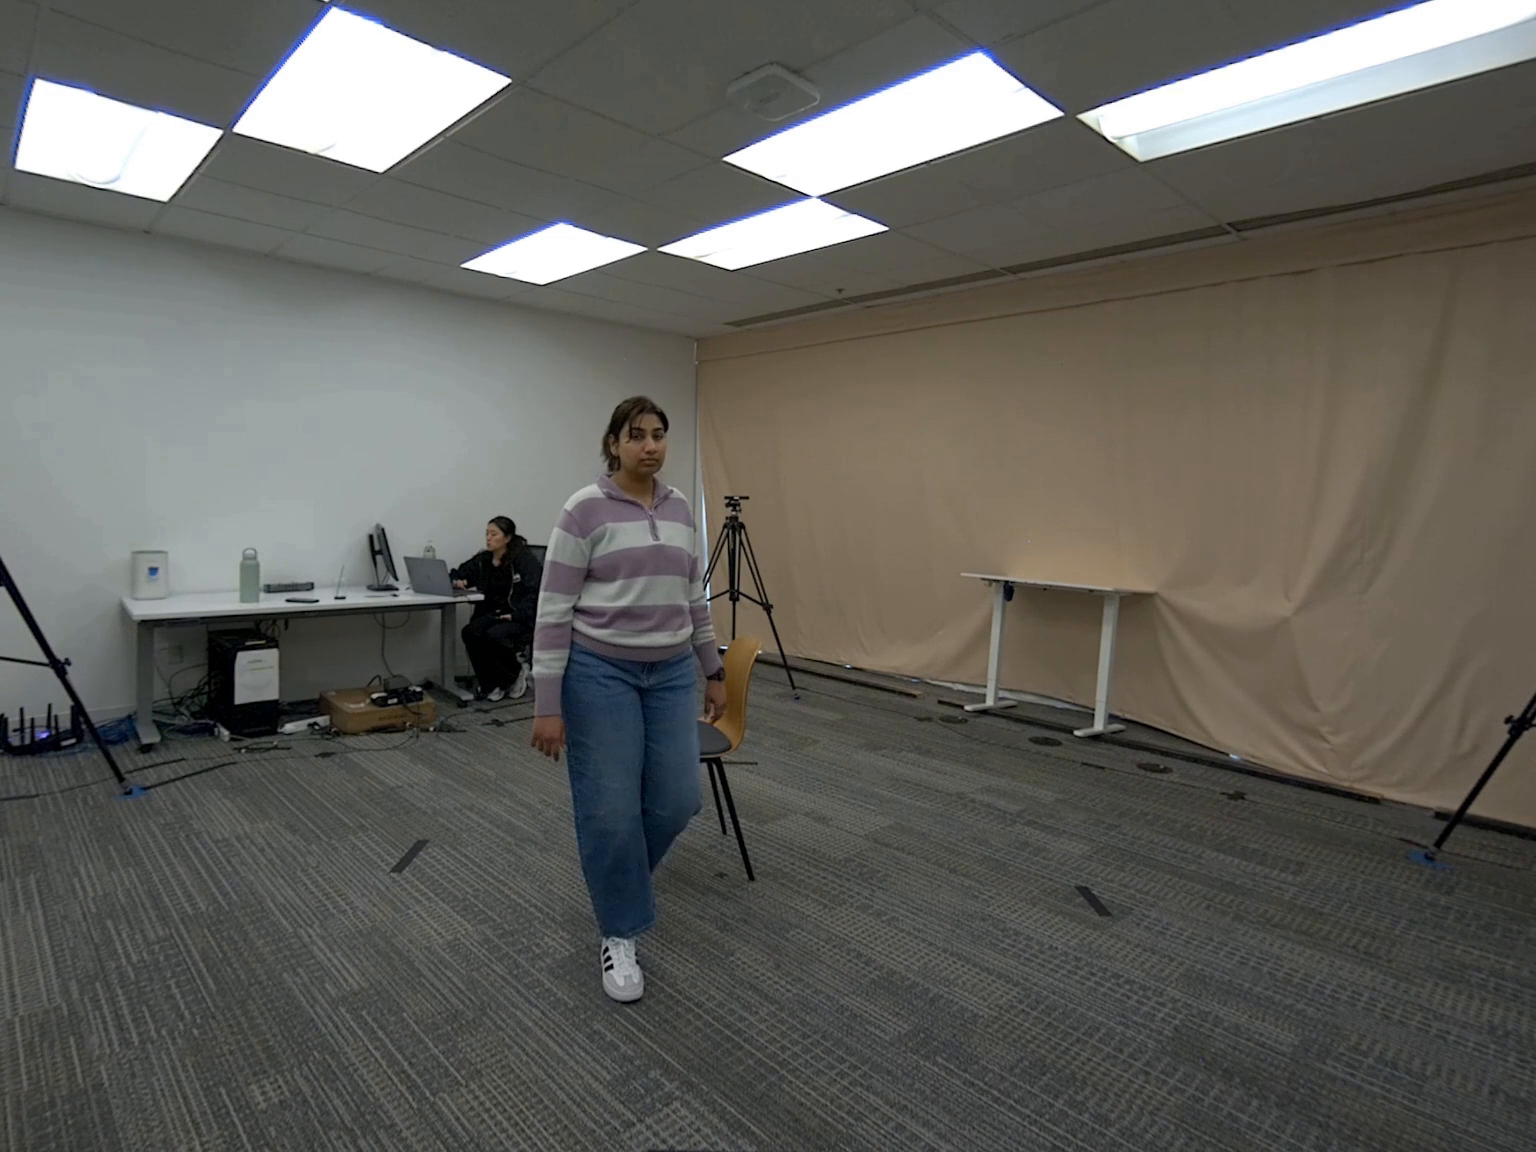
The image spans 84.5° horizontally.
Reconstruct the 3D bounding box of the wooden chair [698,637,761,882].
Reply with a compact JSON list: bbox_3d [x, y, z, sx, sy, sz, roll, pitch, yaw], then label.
[{"bbox_3d":[-0.329,0.666,3.186,0.516,0.876,0.485,4,3,-16],"label":"wooden chair"}]
